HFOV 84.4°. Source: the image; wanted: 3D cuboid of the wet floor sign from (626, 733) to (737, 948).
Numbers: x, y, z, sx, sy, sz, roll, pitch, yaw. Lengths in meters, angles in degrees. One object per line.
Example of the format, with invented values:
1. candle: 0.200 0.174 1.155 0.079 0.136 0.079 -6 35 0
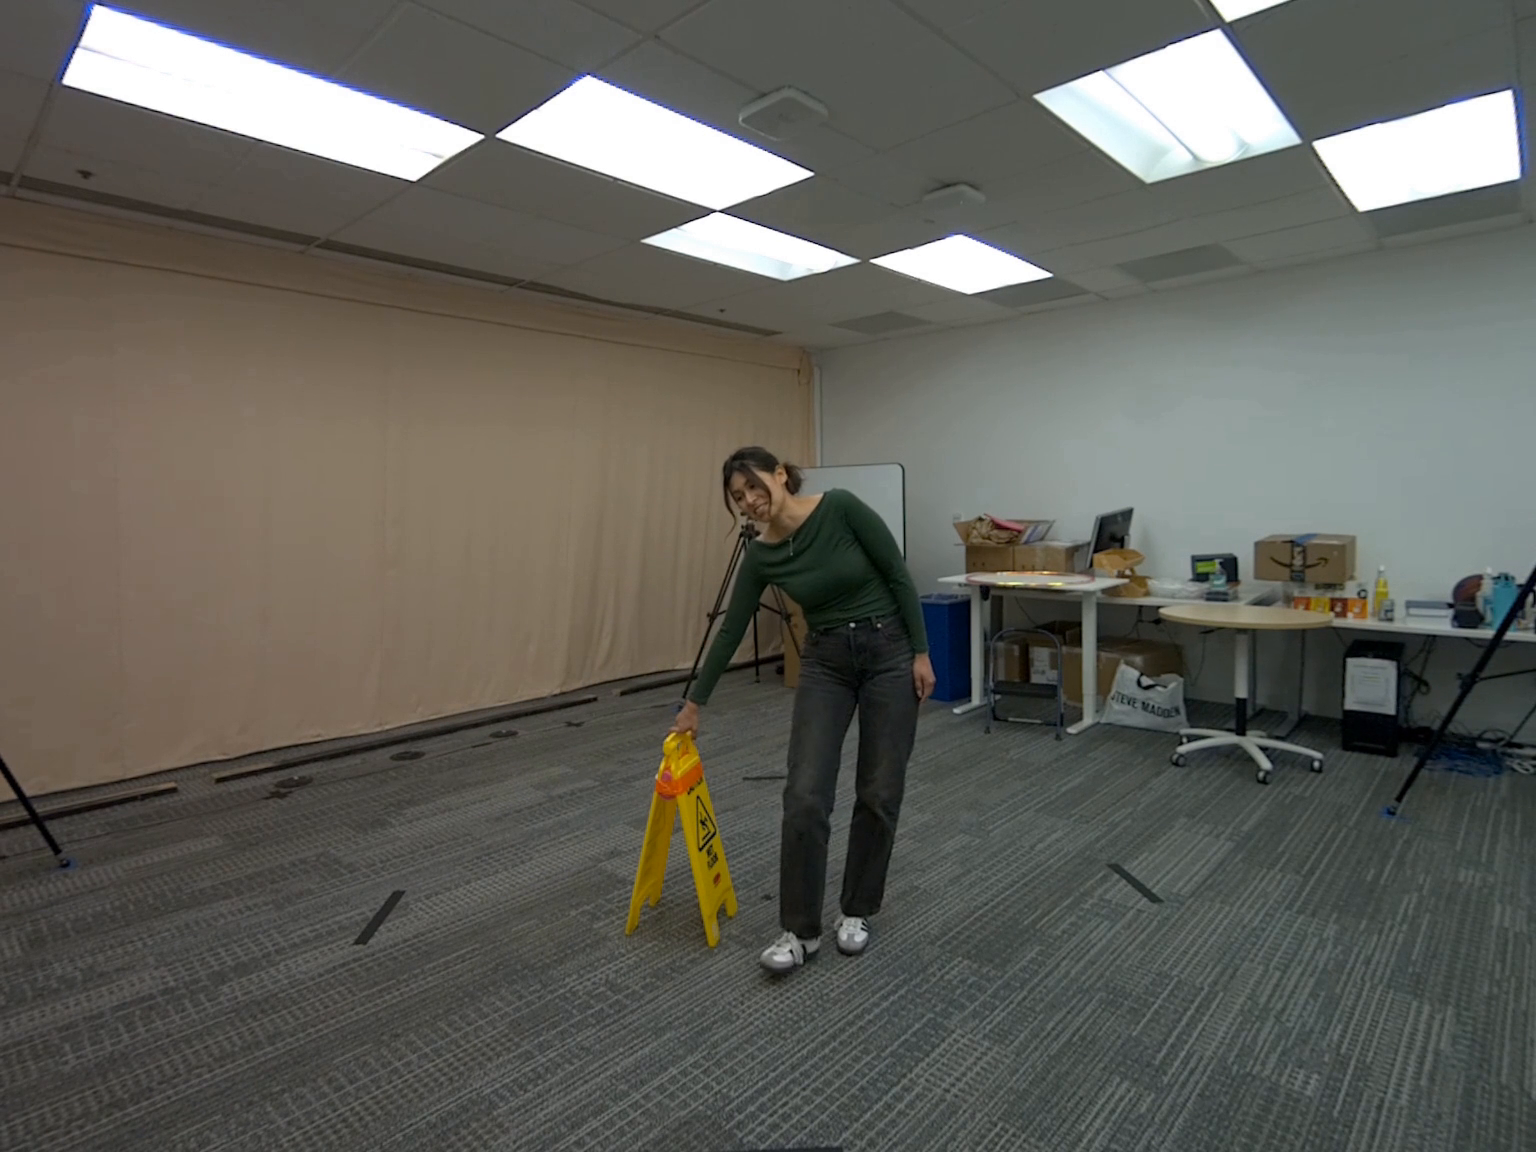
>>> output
1. wet floor sign: -0.287 0.839 2.802 0.295 0.644 0.278 1 5 17
